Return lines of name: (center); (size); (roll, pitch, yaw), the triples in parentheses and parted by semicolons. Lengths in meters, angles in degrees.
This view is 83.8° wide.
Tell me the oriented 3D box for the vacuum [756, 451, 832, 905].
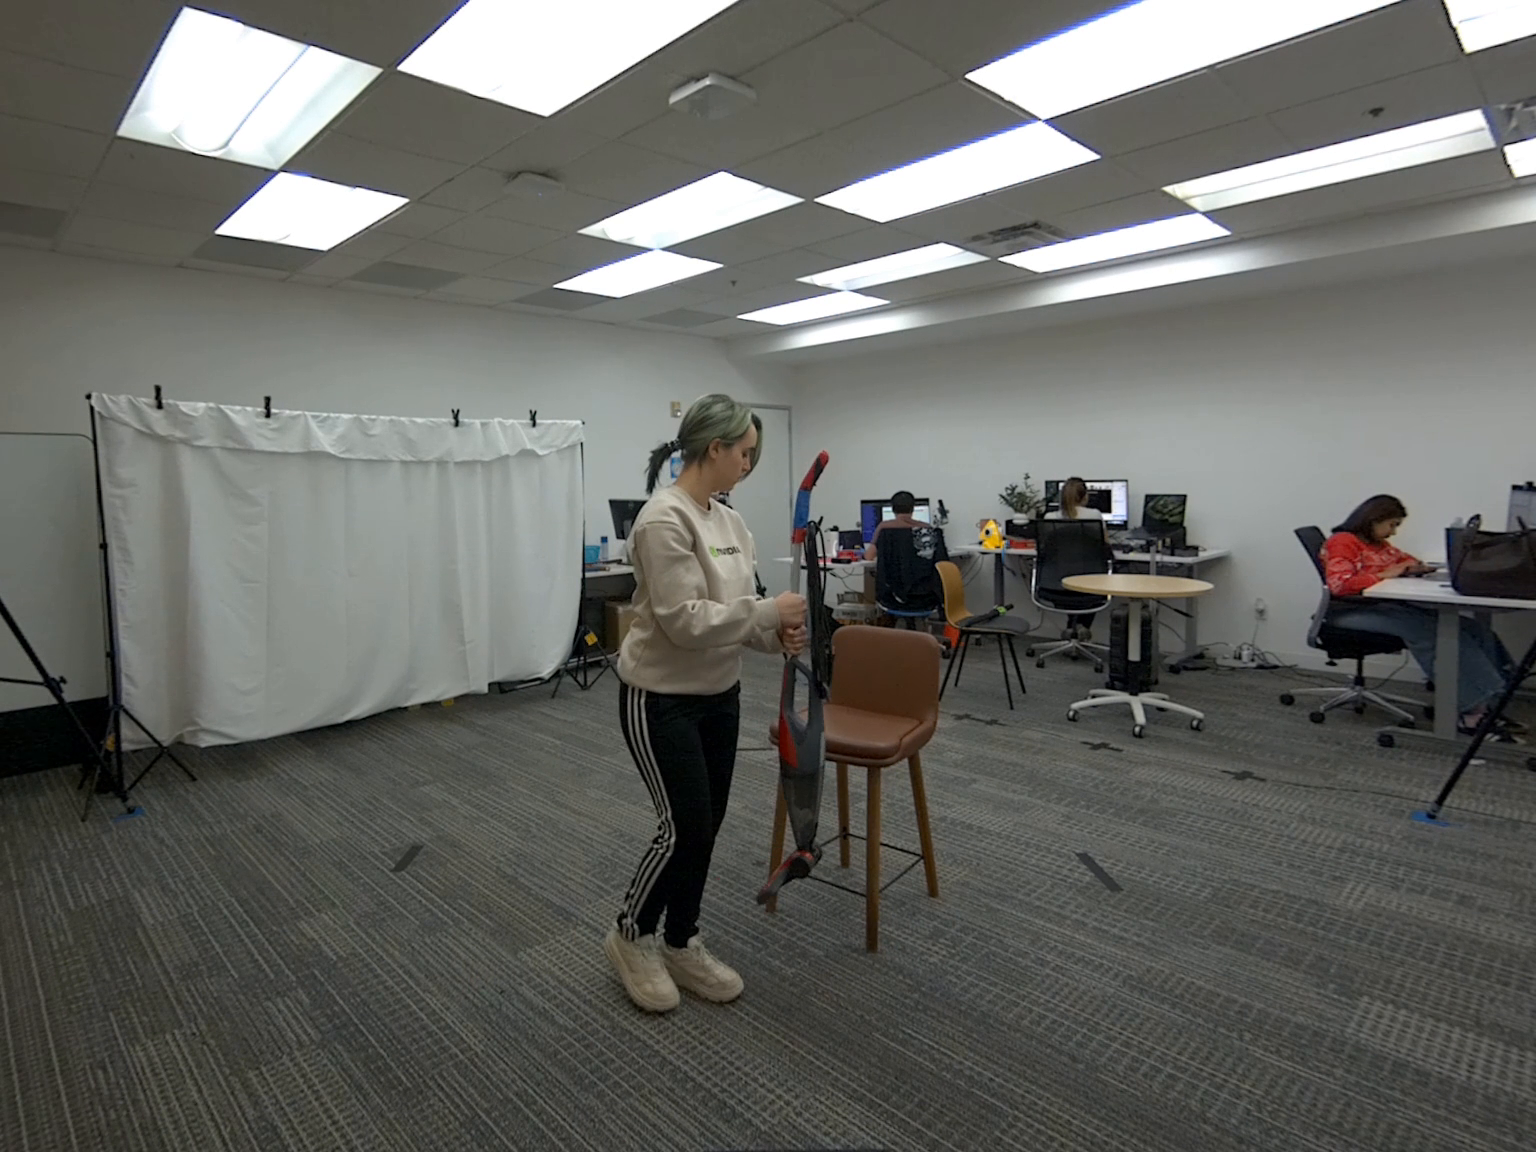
vacuum: (0.100, 0.223, 2.146); (0.148, 1.048, 0.245); (6, 1, 35)
